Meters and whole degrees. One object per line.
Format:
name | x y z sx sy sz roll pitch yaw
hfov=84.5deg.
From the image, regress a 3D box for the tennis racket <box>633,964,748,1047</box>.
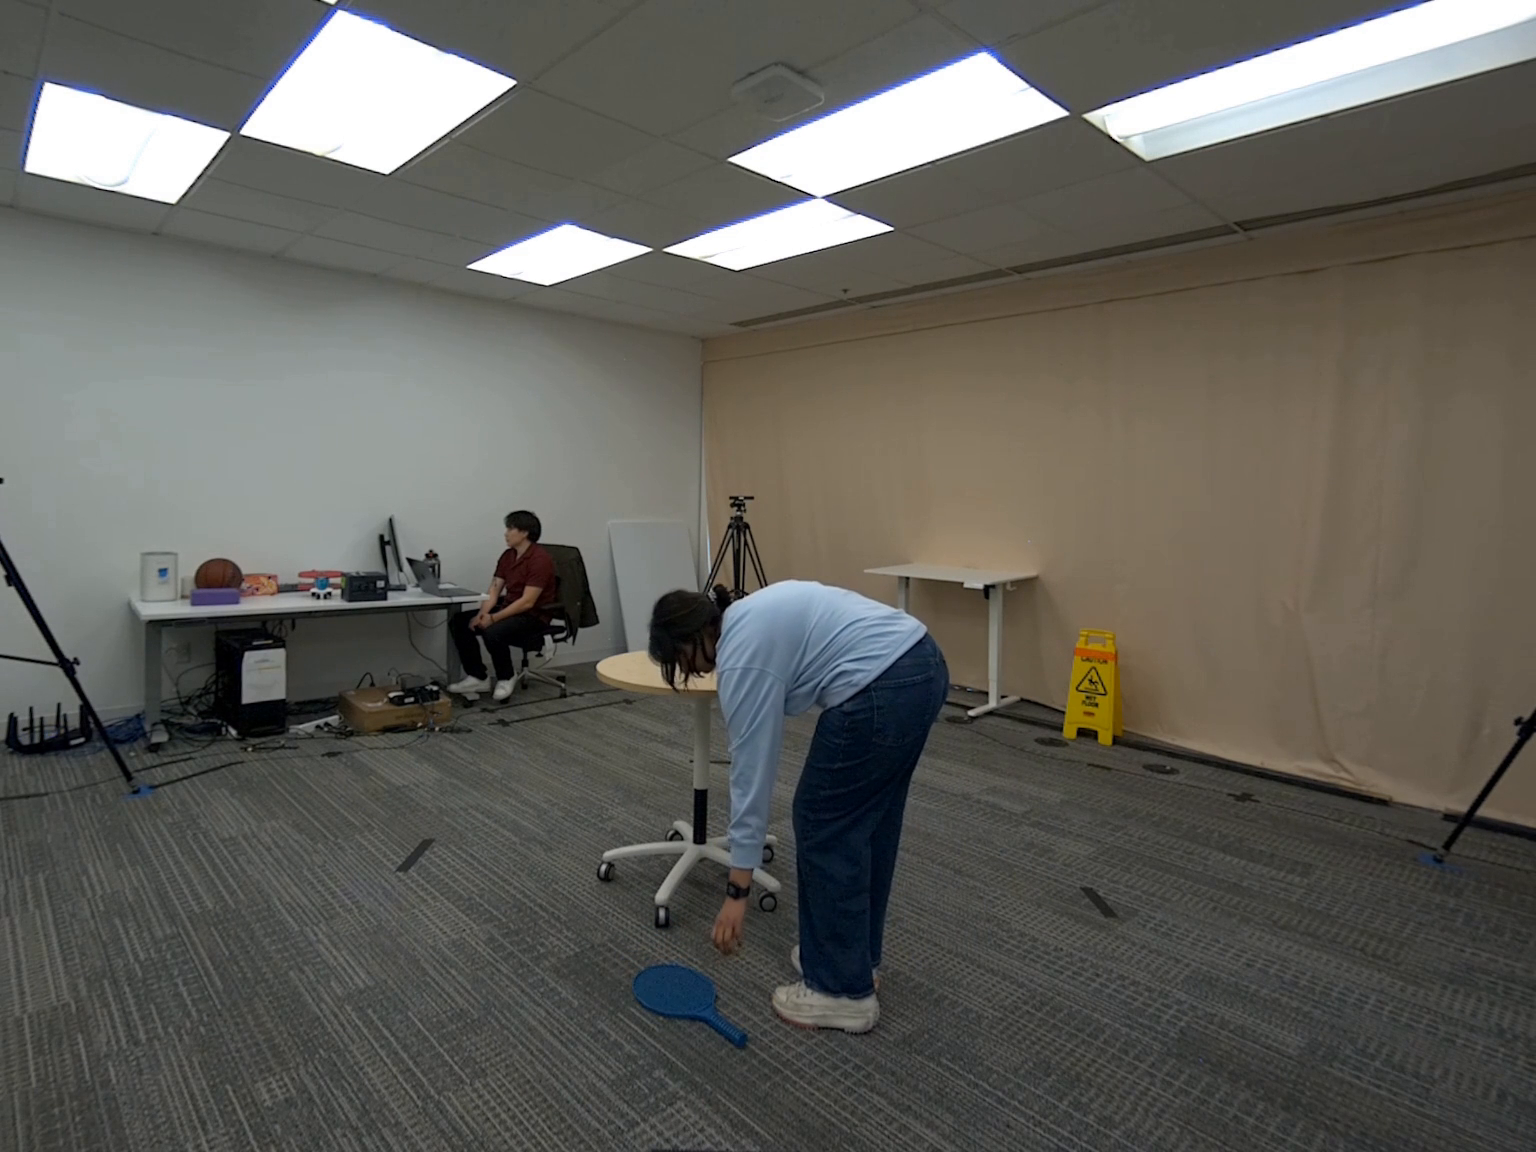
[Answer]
tennis racket | -0.208 1.156 2.307 0.209 0.032 0.444 -3 6 -42
